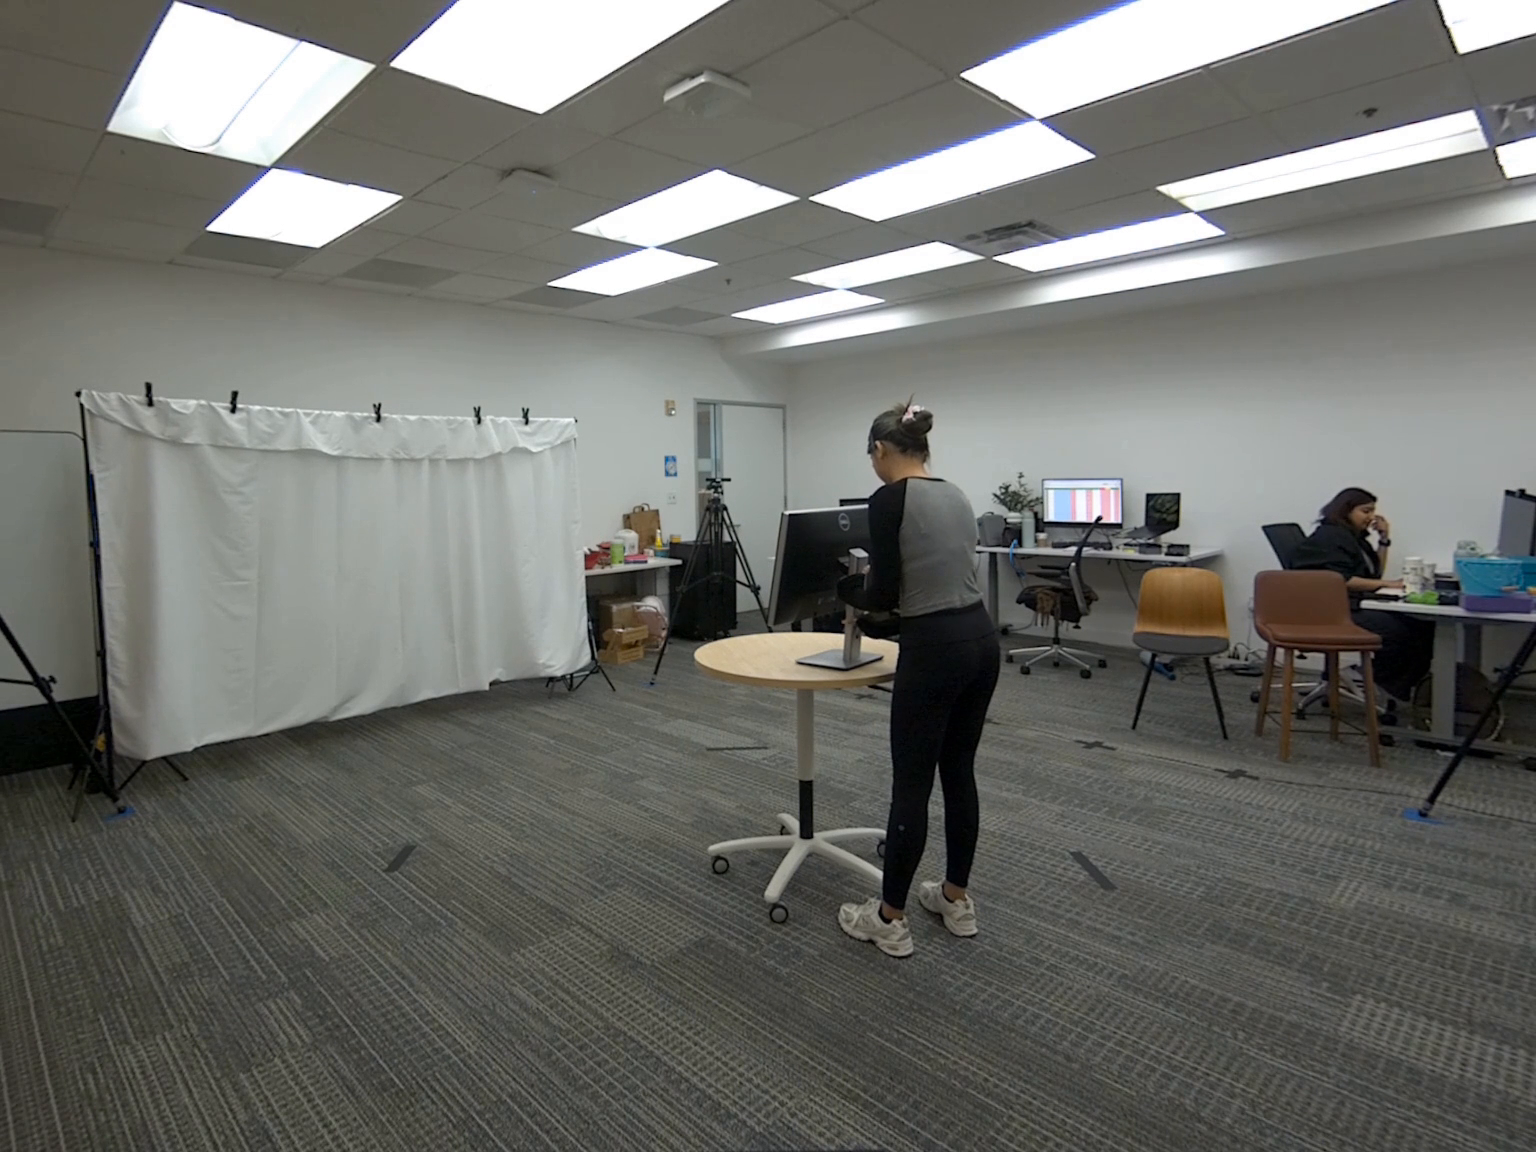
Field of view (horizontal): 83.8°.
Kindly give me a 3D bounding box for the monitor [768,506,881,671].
[{"bbox_3d":[0.233,0.034,2.809,0.179,0.515,0.517,-7,2,40],"label":"monitor"}]
